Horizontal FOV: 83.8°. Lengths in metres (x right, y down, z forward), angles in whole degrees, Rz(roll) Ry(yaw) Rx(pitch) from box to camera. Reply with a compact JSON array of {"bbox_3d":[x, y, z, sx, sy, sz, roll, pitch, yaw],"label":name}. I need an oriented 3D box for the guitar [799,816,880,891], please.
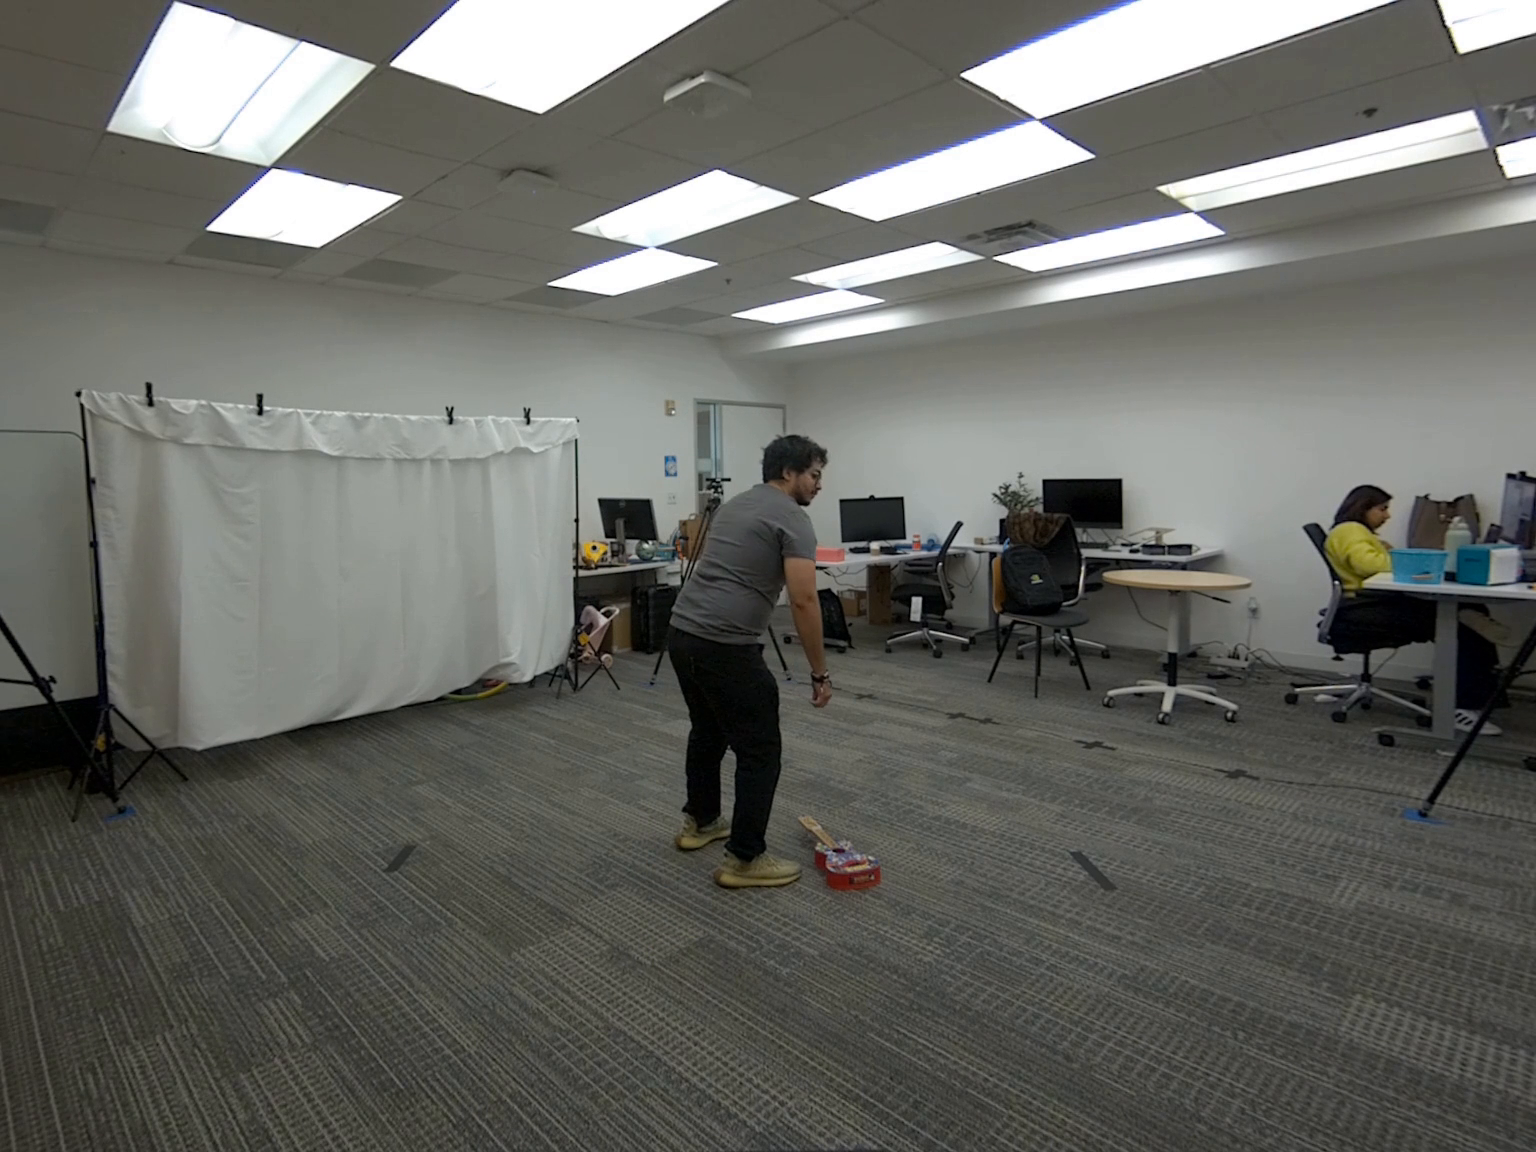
[{"bbox_3d":[0.255,0.998,3.134,0.191,0.070,0.505,-3,7,-11],"label":"guitar"}]
